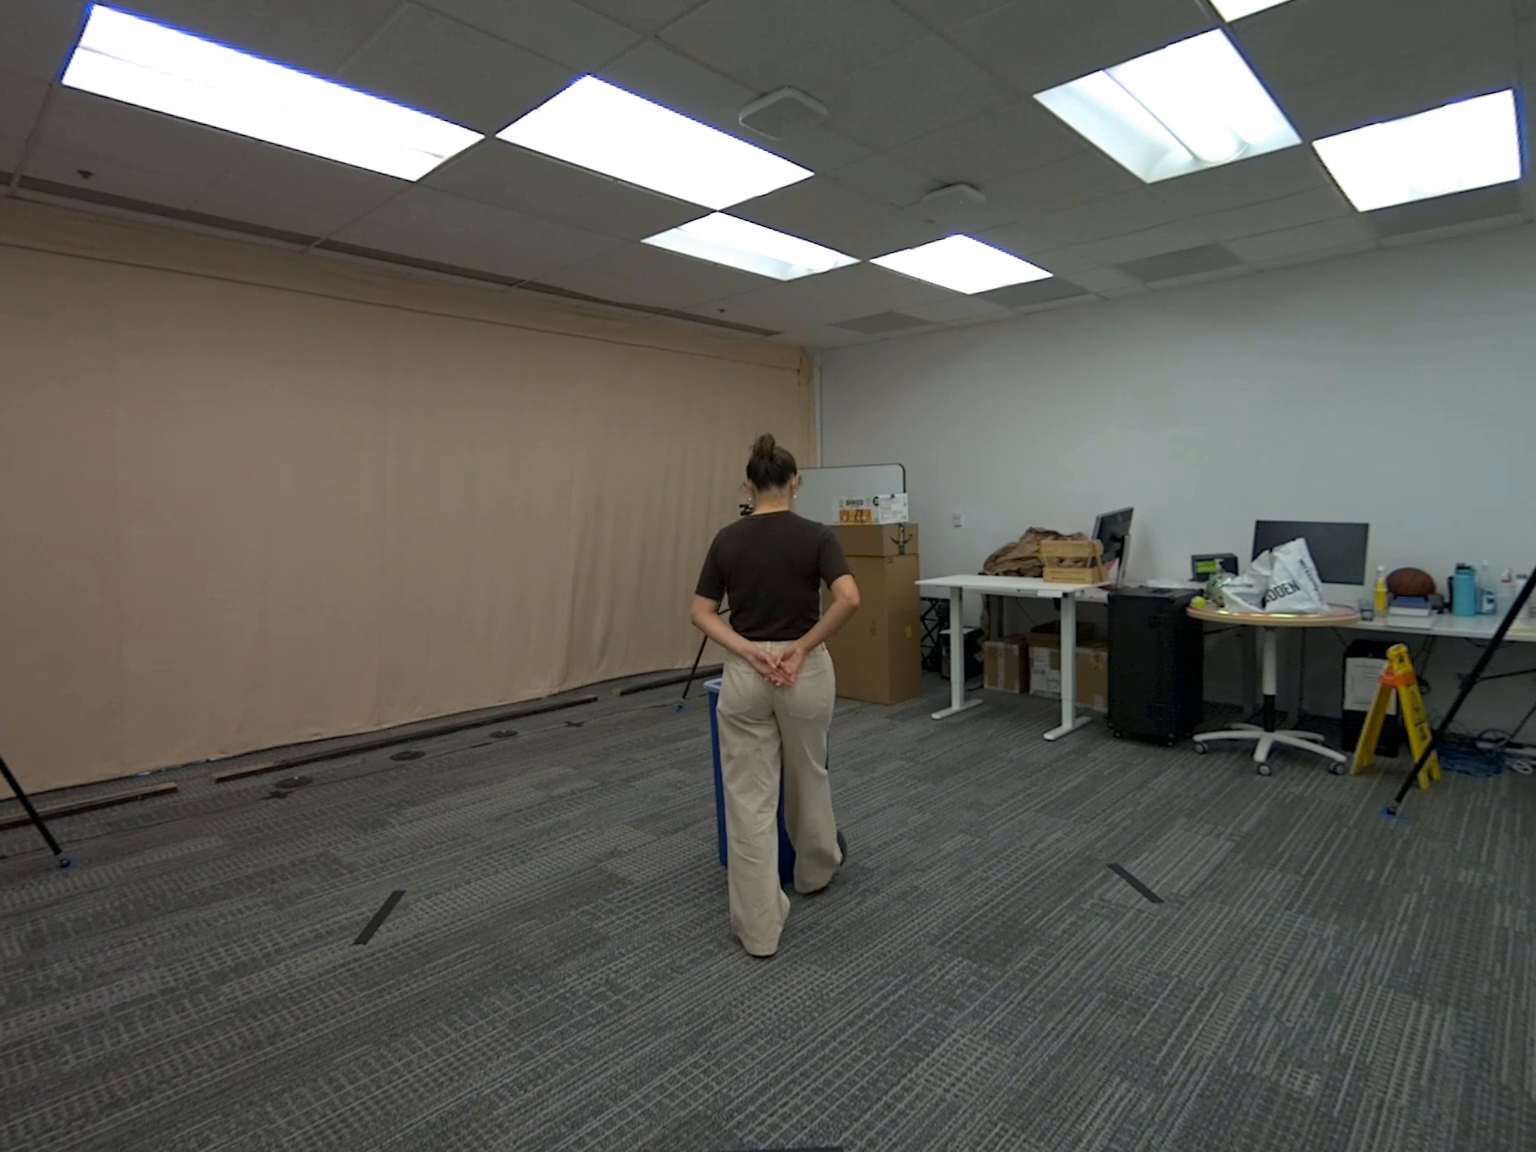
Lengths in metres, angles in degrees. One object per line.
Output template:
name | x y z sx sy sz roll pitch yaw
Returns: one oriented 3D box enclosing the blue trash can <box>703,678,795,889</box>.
blue trash can | 0.003 0.757 3.225 0.367 0.712 0.386 -5 5 -39
